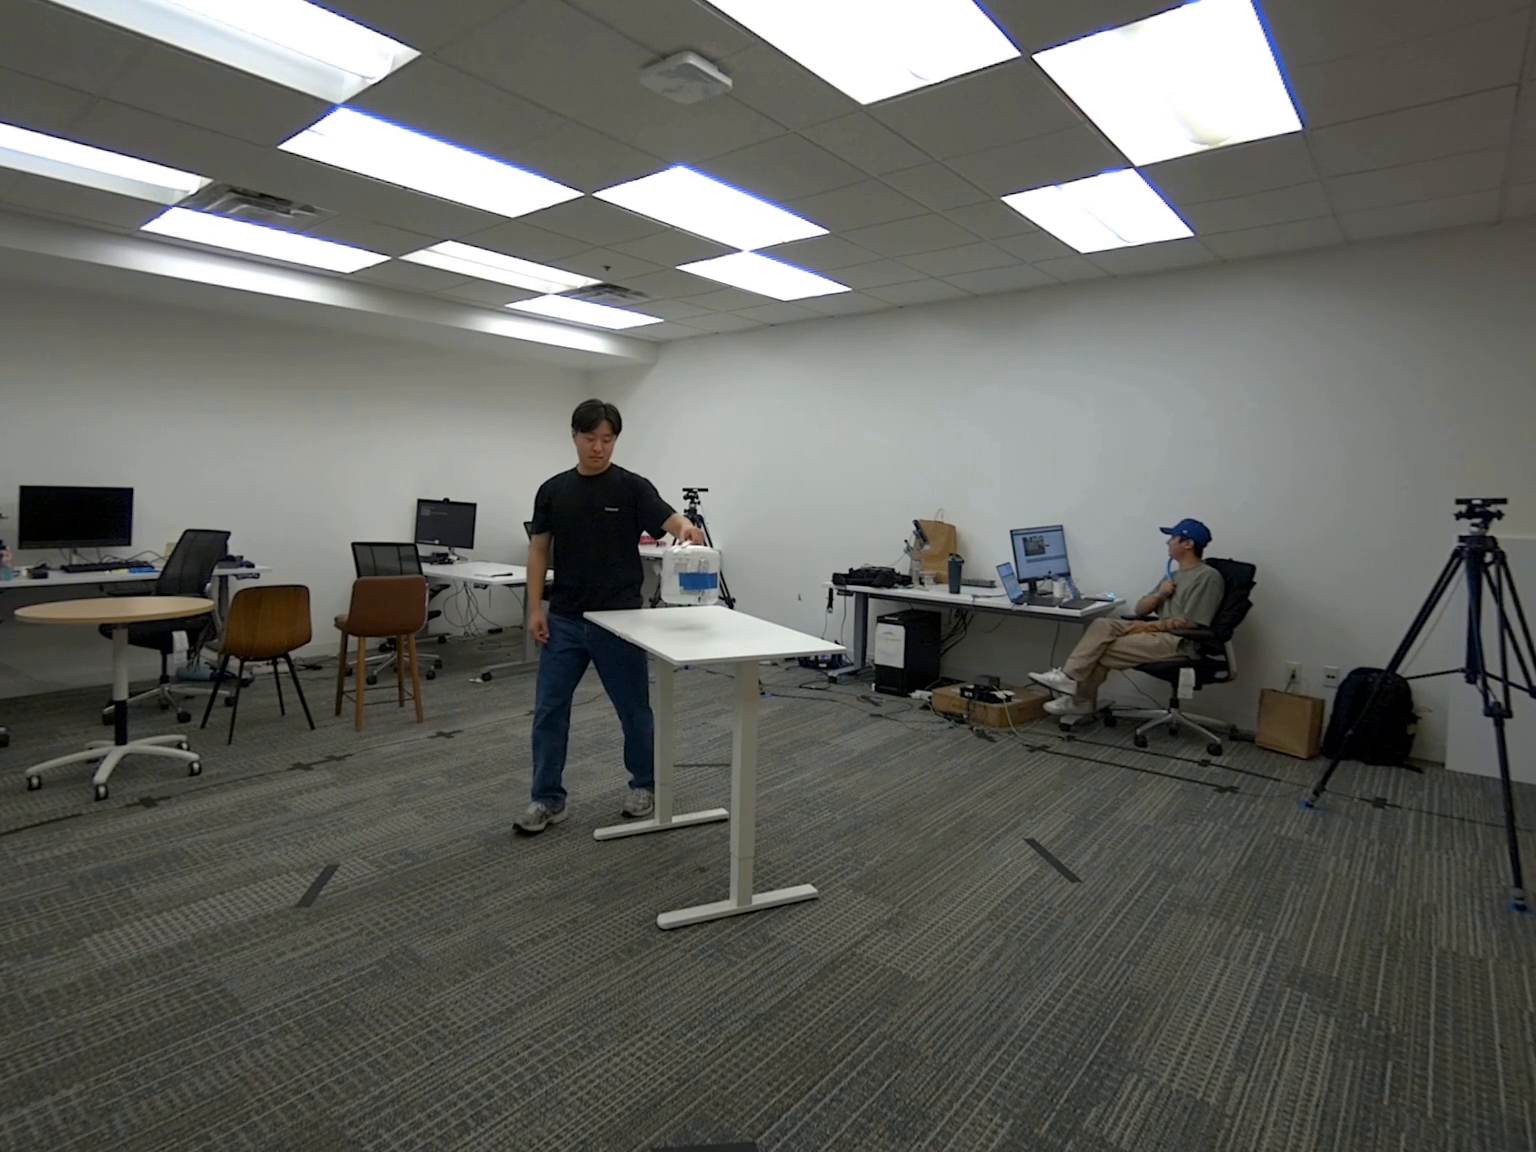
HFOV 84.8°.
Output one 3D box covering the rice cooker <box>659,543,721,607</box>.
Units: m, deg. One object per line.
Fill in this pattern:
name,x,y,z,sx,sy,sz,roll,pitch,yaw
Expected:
rice cooker,-0.293,-0.021,3.098,0.222,0.234,0.215,2,-4,18
